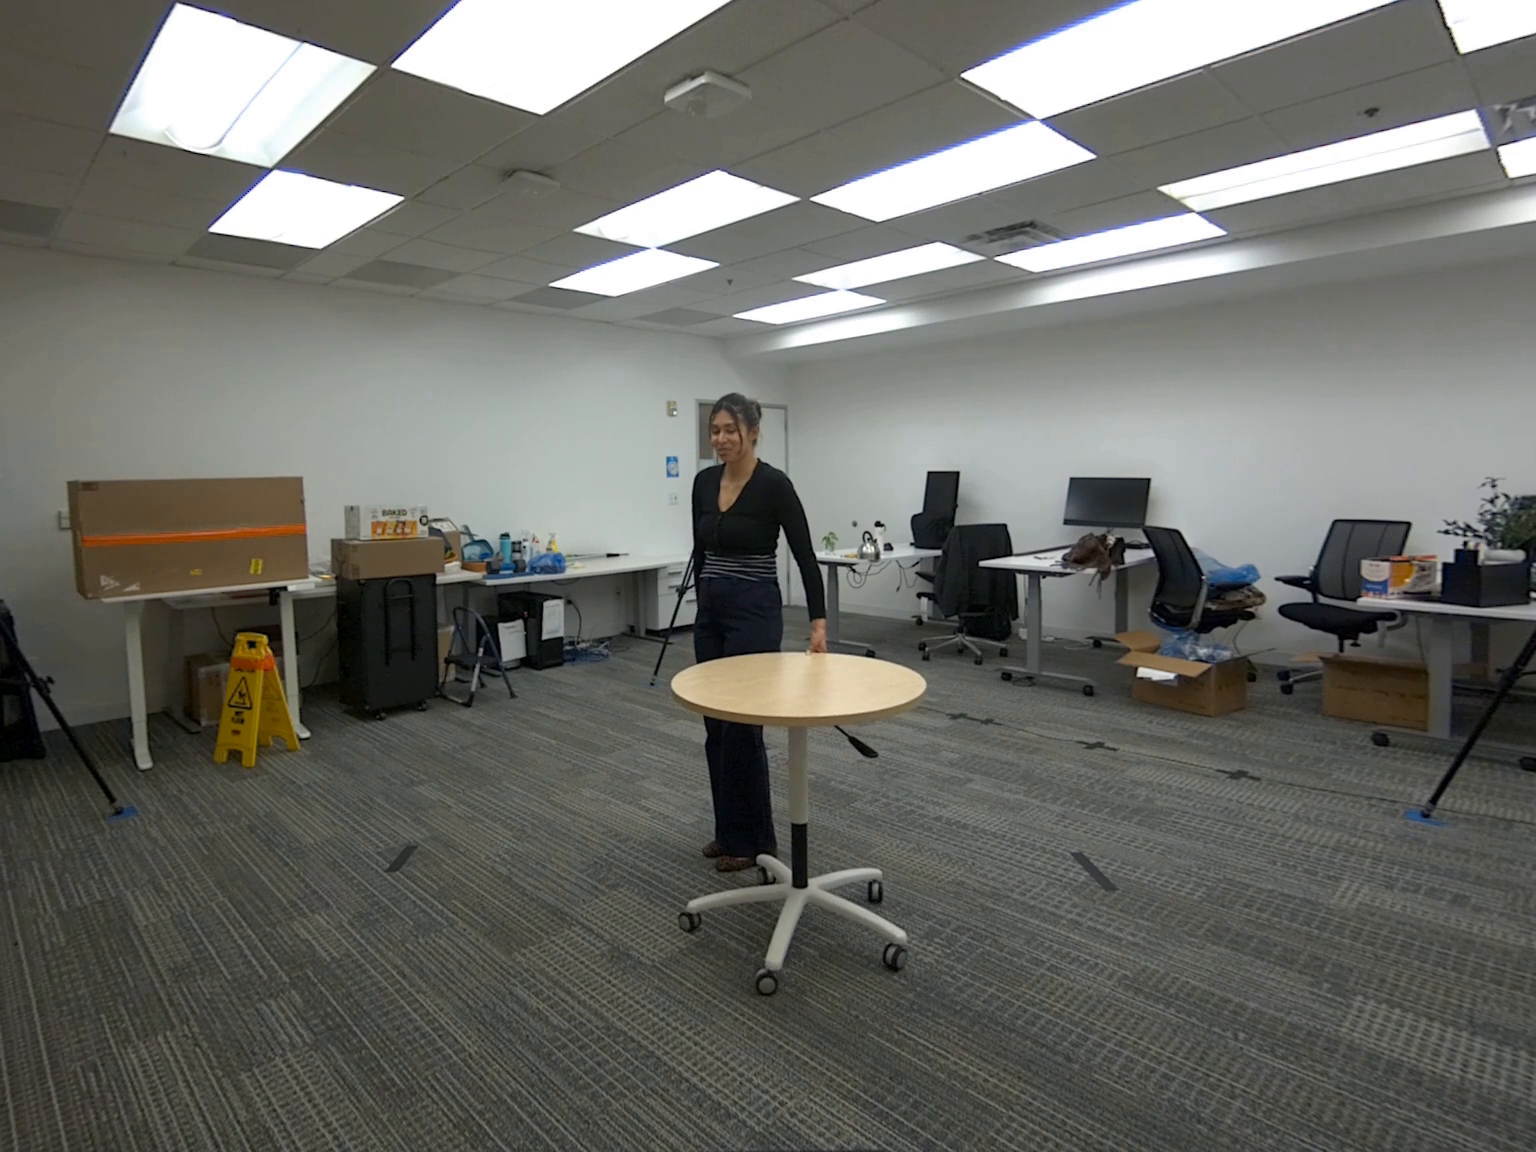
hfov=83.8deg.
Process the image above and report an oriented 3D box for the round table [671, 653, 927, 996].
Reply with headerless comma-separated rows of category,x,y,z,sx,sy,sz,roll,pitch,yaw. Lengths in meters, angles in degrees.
round table,0.100,0.709,2.625,0.763,0.790,0.768,-1,6,-2
